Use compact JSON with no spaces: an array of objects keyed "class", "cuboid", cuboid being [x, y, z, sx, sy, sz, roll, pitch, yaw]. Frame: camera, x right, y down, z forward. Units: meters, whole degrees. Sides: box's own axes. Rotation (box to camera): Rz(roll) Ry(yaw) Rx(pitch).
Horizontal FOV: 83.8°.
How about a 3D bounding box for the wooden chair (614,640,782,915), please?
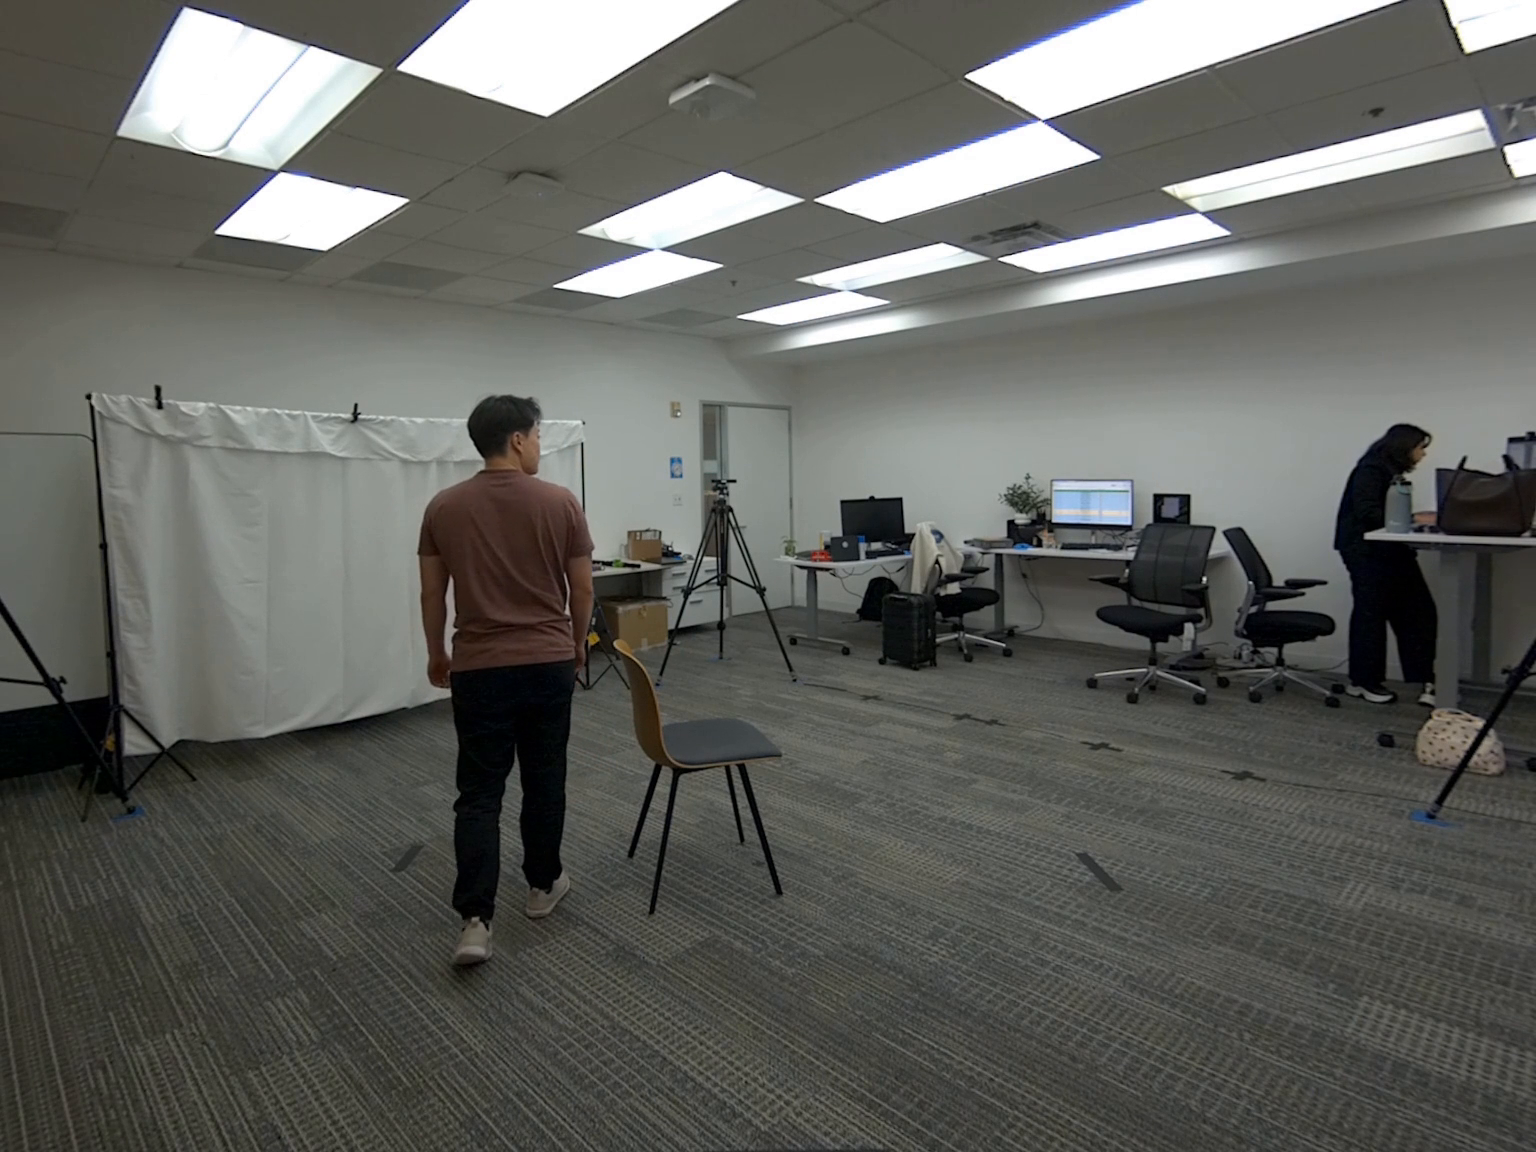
[{"class":"wooden chair","cuboid":[-0.236,0.637,2.997,0.516,0.873,0.487,-6,5,-16]}]
